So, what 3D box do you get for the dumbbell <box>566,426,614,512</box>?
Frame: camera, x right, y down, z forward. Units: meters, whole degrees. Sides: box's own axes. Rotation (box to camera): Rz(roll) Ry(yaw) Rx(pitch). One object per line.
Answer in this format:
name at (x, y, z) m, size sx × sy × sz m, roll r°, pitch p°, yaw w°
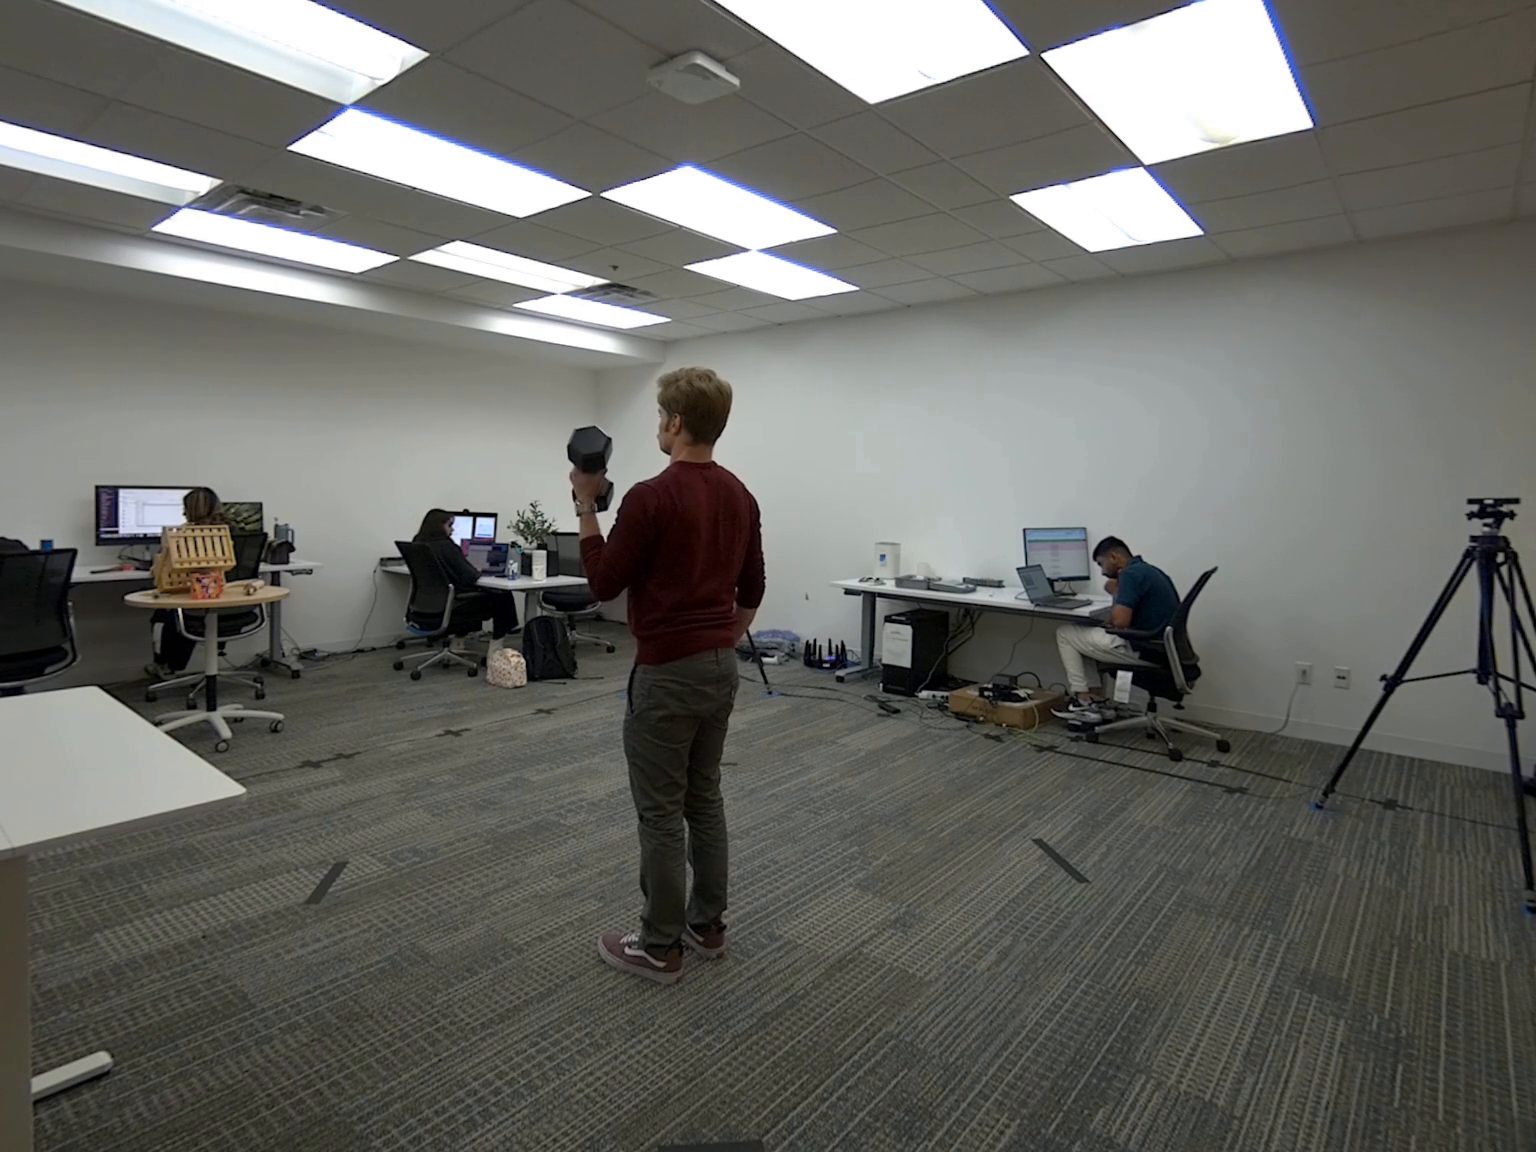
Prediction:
dumbbell at (-0.509, -0.286, 2.390) m, size 0.108 × 0.126 × 0.287 m, roll -39°, pitch -18°, yaw -25°
